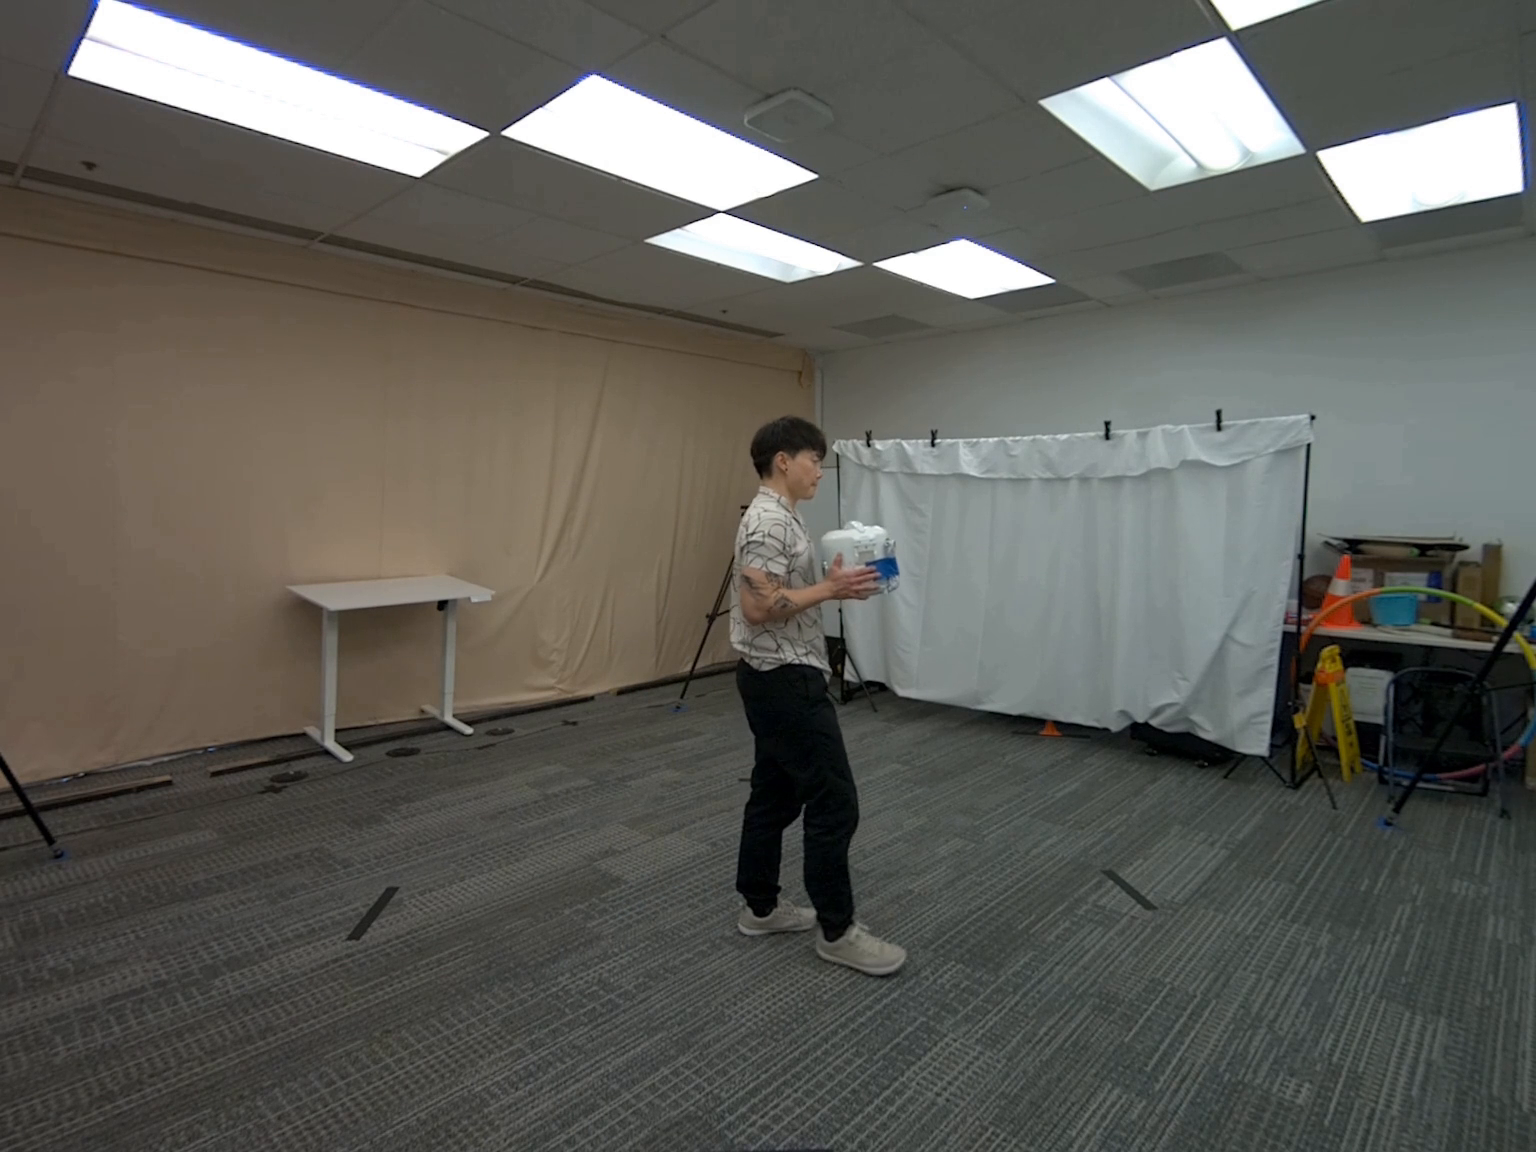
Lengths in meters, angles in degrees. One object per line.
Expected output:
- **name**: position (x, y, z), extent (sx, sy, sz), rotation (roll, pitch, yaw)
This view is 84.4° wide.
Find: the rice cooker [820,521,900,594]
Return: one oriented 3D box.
- **rice cooker**: position (0.275, -0.054, 2.613), extent (0.215, 0.232, 0.223), rotation (-7, 3, -9)
